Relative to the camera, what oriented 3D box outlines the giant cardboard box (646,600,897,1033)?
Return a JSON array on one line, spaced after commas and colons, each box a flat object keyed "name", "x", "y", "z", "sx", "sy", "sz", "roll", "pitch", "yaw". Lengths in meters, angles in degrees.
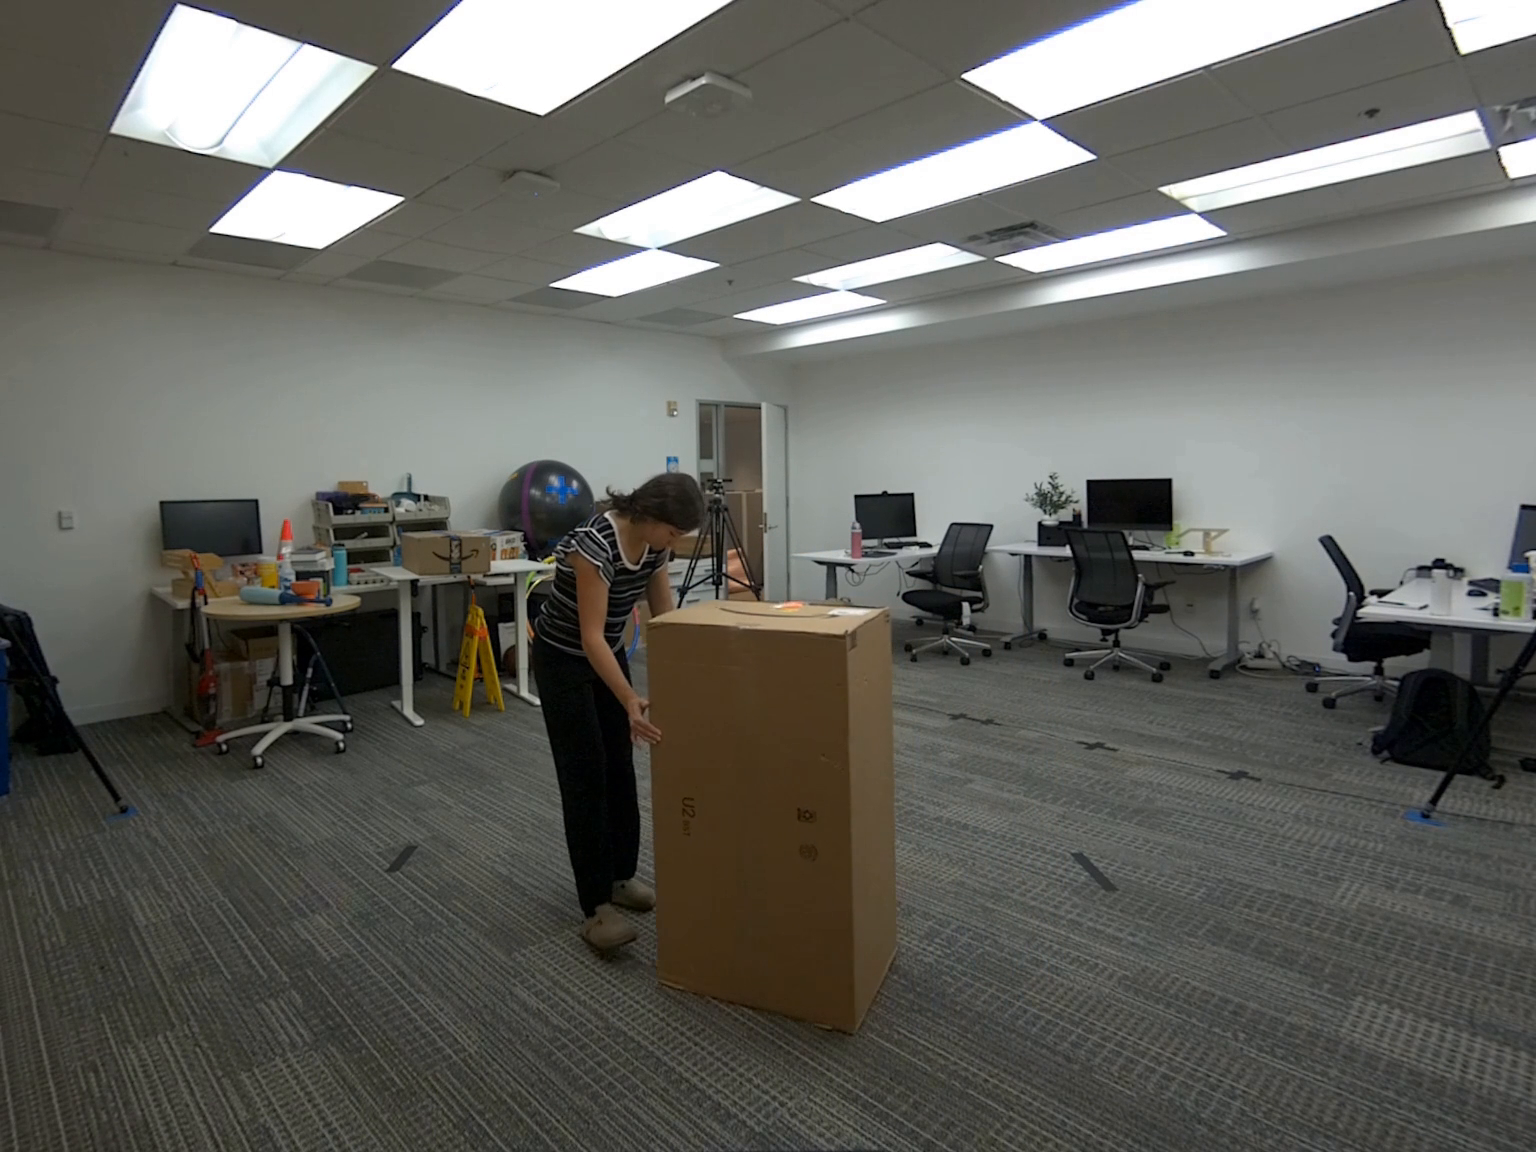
[{"name": "giant cardboard box", "x": 0.022, "y": 0.612, "z": 2.415, "sx": 0.590, "sy": 1.022, "sz": 0.419, "roll": 0, "pitch": 5, "yaw": 23}]
